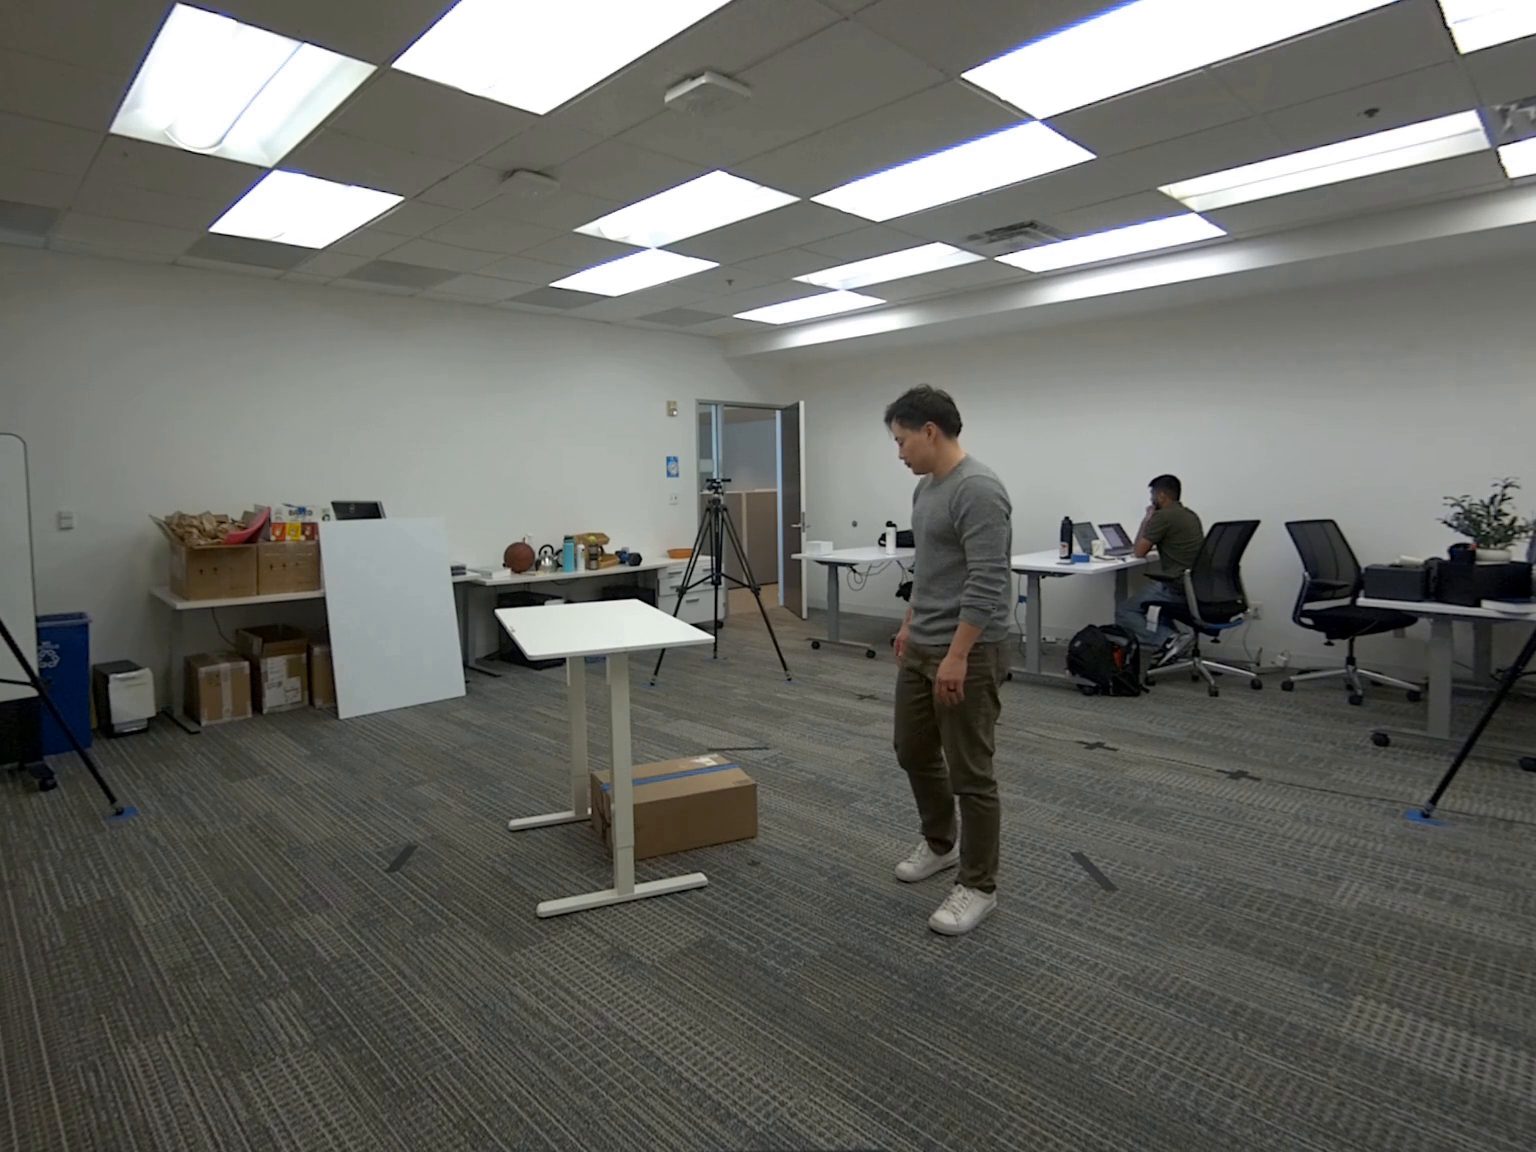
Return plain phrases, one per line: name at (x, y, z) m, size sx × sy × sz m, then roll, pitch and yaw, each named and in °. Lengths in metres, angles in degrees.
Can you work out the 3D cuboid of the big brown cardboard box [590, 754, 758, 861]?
big brown cardboard box at (-0.379, 0.904, 3.407) m, size 0.577 × 0.232 × 0.428 m, roll -4°, pitch 7°, yaw -25°
